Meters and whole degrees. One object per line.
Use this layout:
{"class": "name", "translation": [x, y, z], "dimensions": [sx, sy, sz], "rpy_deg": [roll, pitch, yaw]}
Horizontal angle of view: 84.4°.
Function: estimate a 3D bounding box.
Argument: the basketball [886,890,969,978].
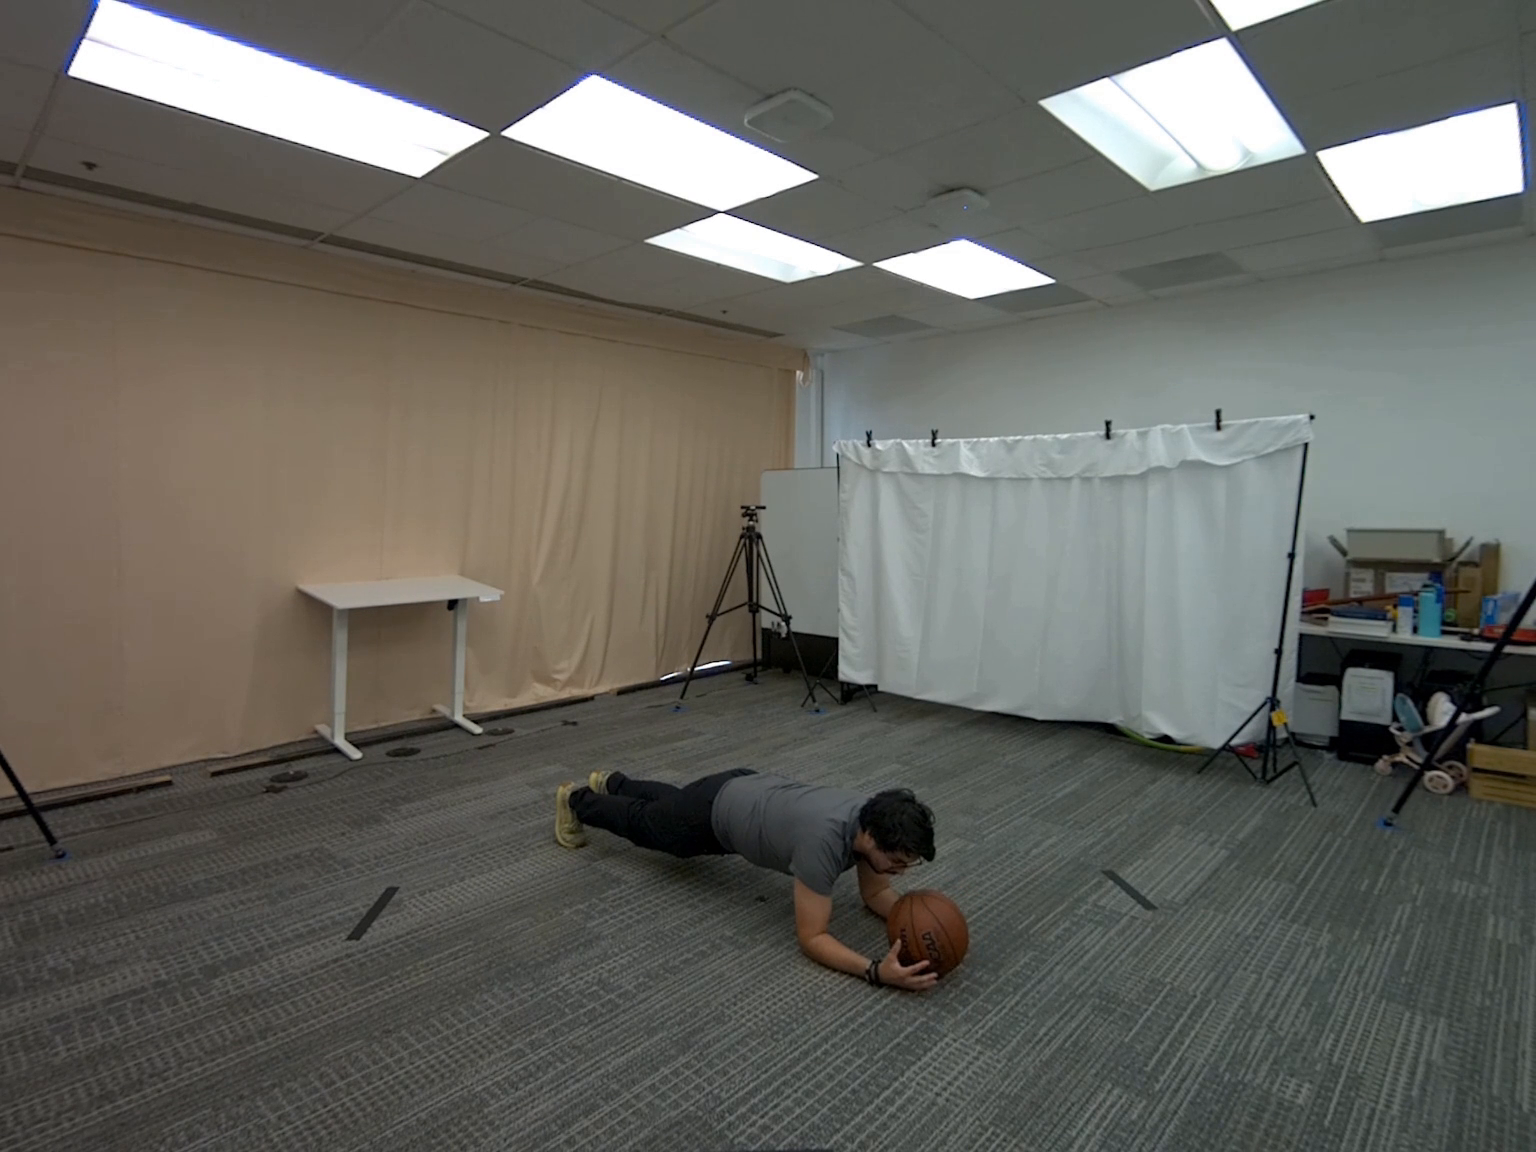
{"class": "basketball", "translation": [0.474, 1.060, 2.512], "dimensions": [0.236, 0.235, 0.237], "rpy_deg": [0, 4, -2]}
